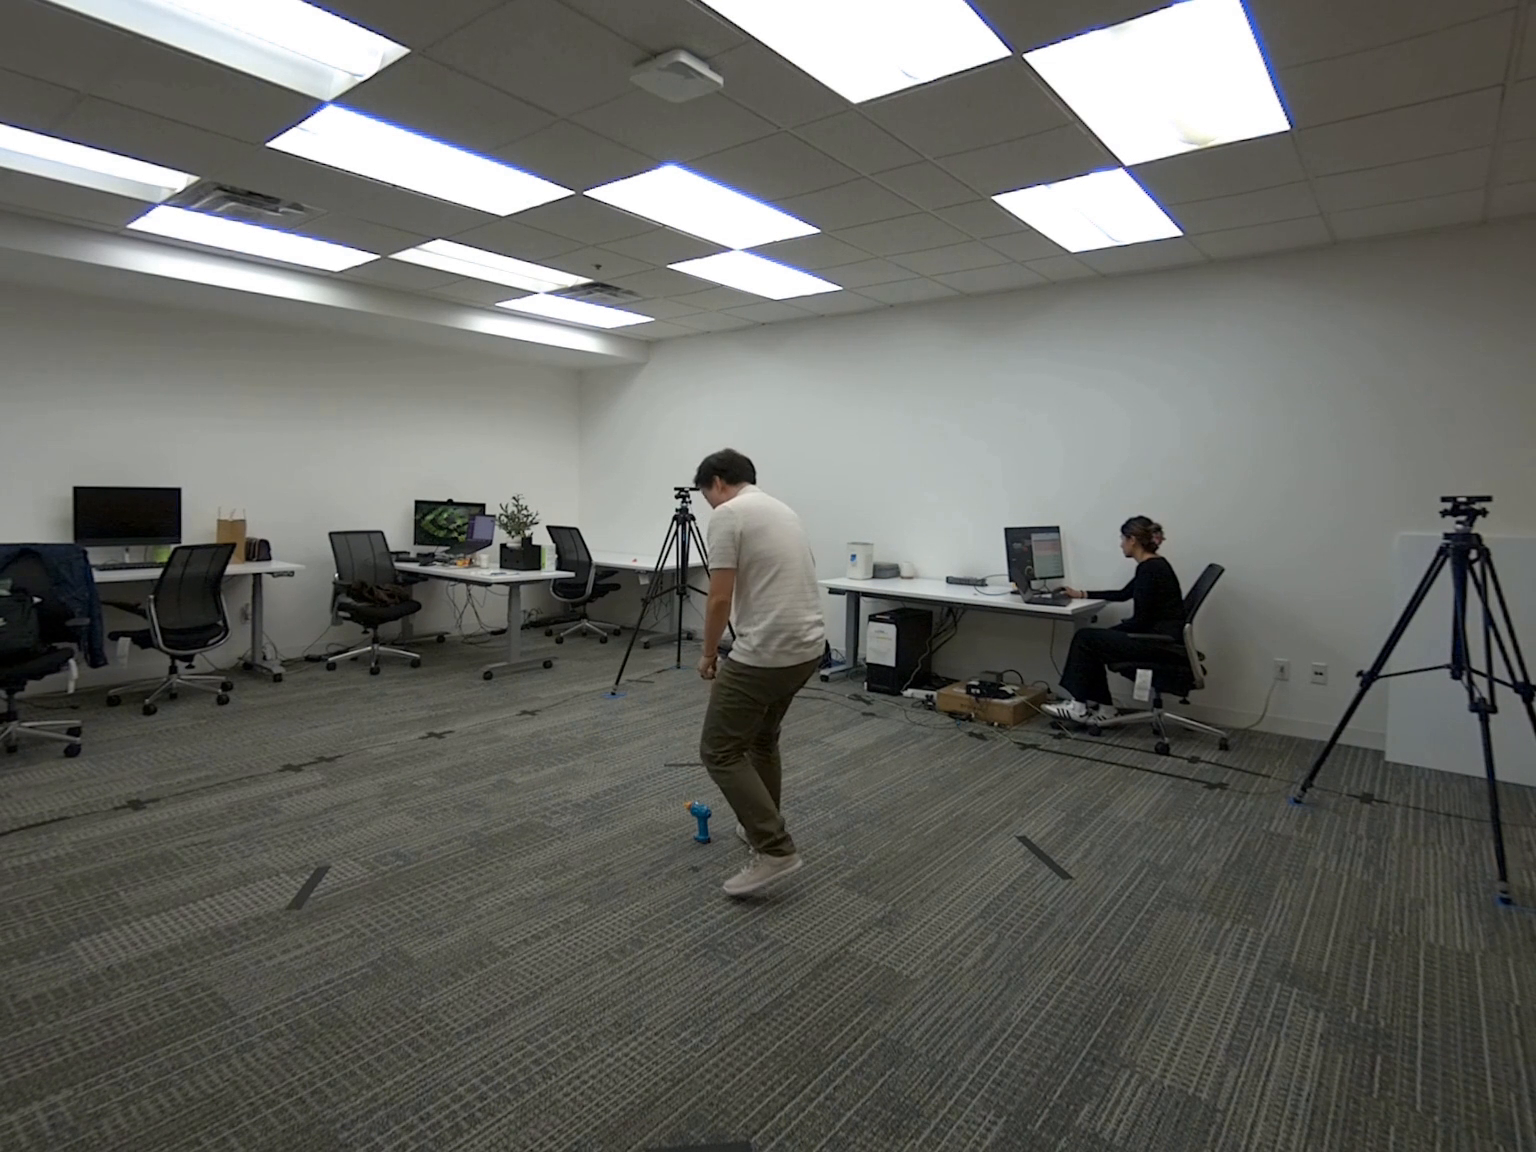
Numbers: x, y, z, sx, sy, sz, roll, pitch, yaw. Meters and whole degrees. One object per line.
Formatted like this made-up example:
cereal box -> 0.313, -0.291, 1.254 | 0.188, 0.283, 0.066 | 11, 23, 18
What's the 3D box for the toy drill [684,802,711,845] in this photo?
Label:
toy drill -> -0.296, 0.965, 3.387 | 0.059, 0.145, 0.175 | -5, 5, -42
